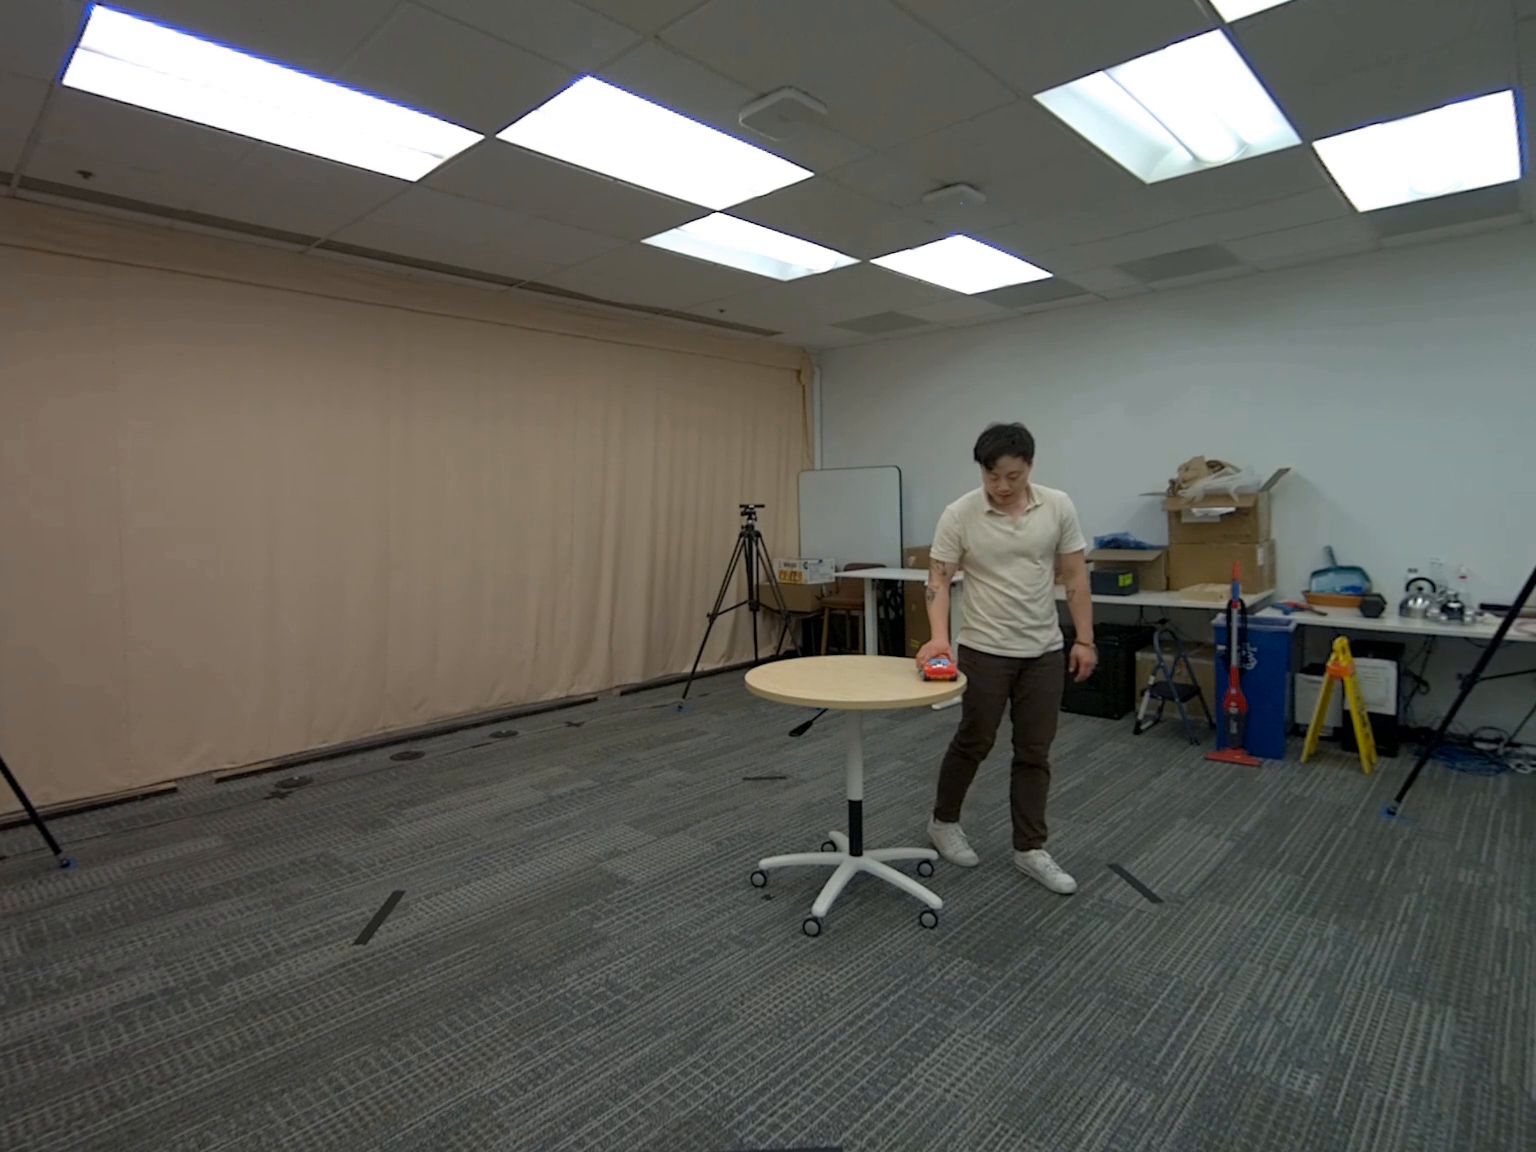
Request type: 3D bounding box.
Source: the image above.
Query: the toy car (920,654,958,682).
[{"bbox_3d":[0.596,0.314,2.936,0.131,0.082,0.256,-3,17,4],"label":"toy car"}]
